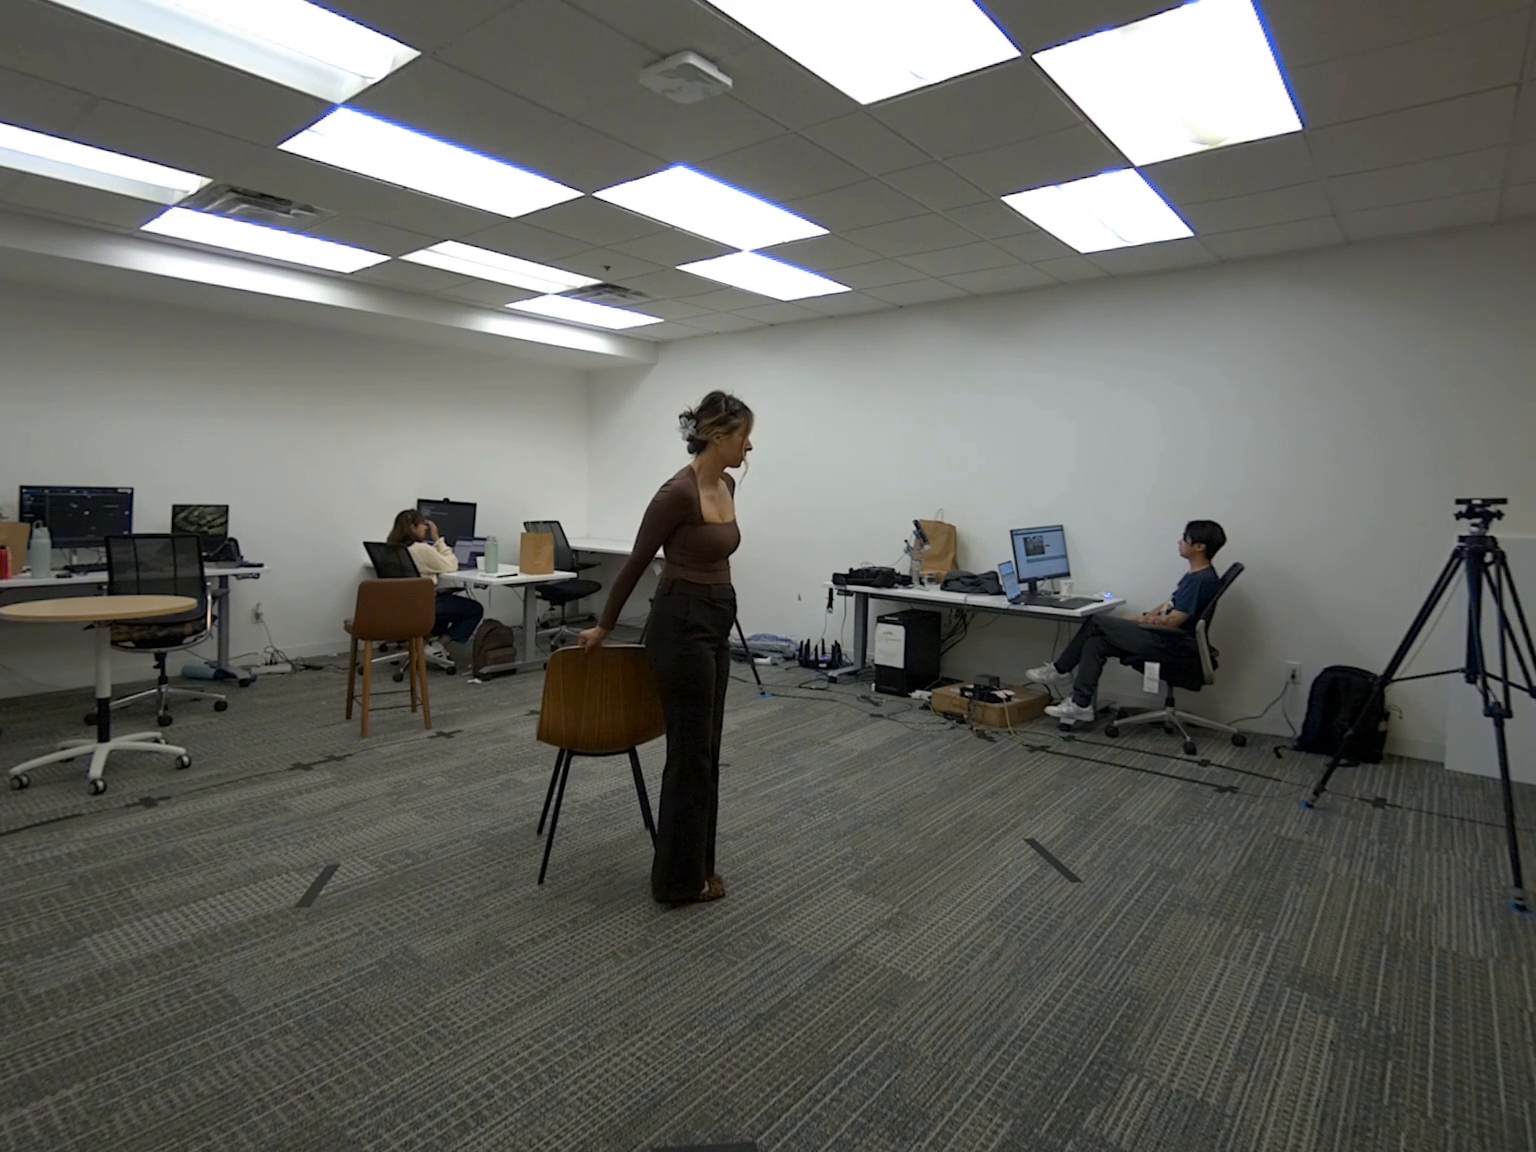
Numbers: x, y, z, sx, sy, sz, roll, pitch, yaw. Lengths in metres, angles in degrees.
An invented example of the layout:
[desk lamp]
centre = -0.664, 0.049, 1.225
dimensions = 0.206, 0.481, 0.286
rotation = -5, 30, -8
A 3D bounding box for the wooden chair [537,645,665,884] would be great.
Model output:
[wooden chair]
centre = -0.654, 0.622, 3.204
dimensions = 0.471, 0.871, 0.534
rotation = 0, 8, -14
